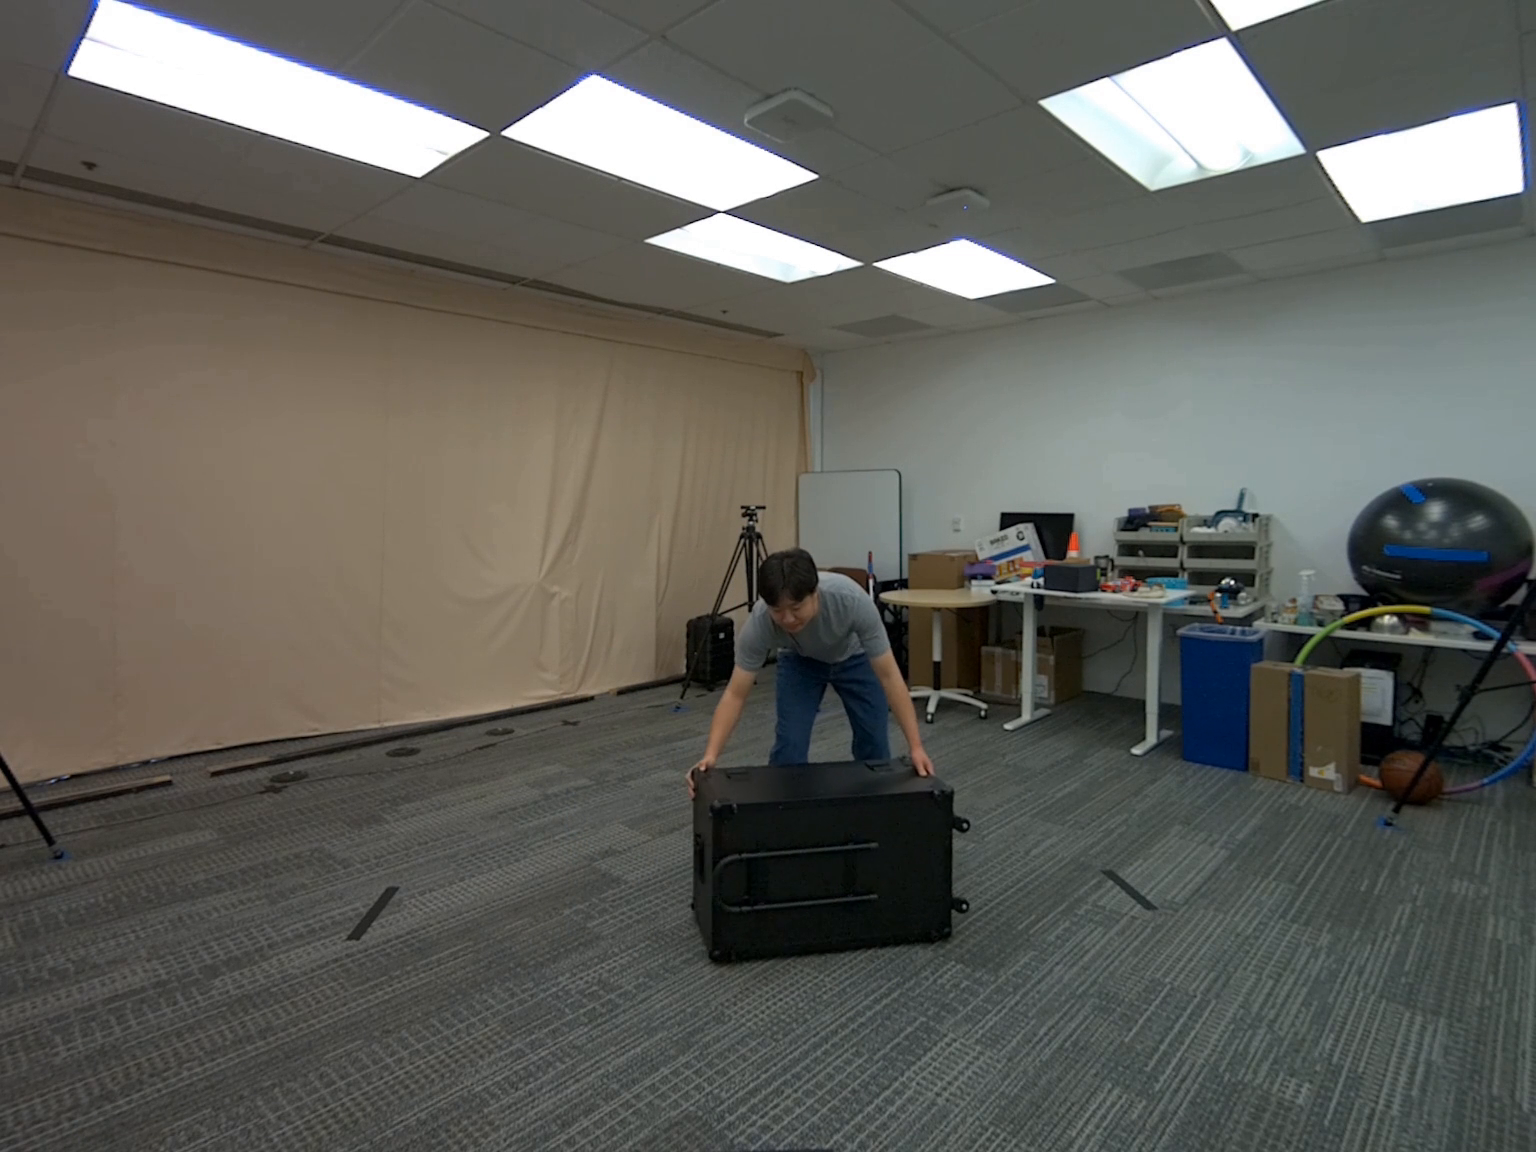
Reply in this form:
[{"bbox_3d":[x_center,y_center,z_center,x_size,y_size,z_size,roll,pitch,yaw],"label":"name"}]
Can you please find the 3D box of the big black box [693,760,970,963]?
[{"bbox_3d":[0.206,0.900,2.764,0.851,0.520,0.402,-1,3,-12],"label":"big black box"}]
